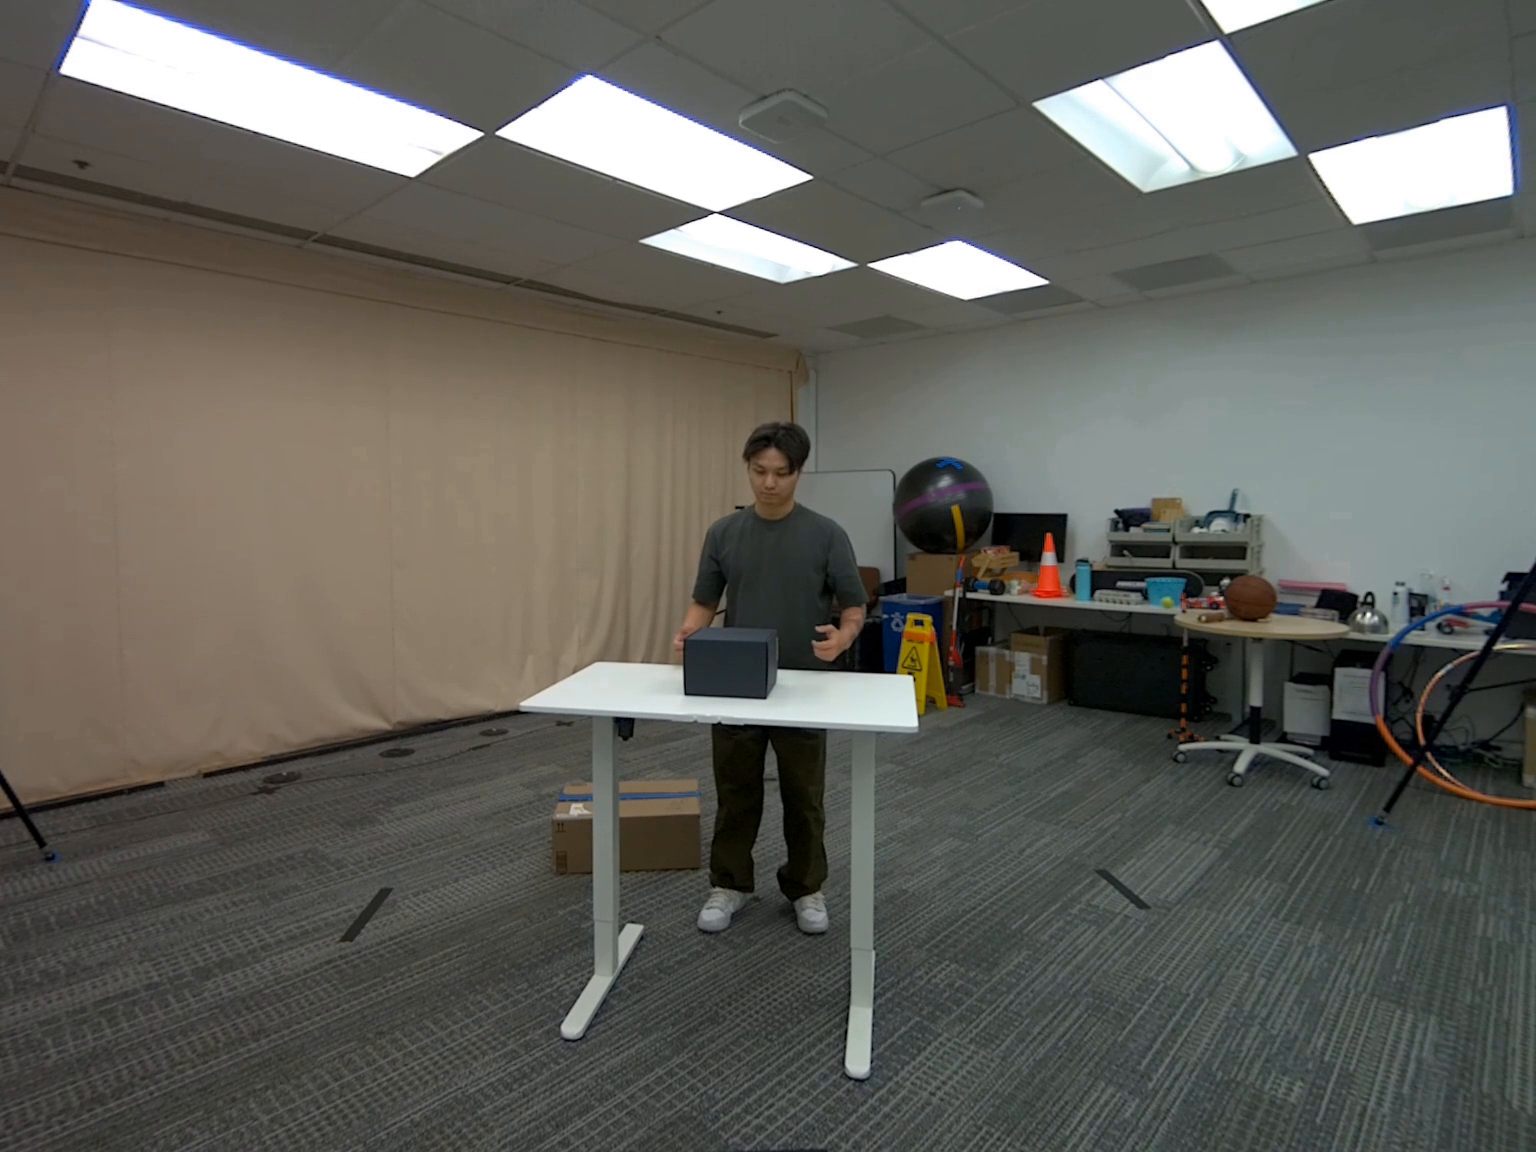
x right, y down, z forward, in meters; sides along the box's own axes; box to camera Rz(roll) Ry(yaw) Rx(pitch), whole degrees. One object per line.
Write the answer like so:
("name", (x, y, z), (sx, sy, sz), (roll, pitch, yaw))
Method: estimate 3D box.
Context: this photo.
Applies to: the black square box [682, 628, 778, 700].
("black square box", (-0.097, 0.236, 2.339), (0.230, 0.155, 0.215), (2, 4, 10))
